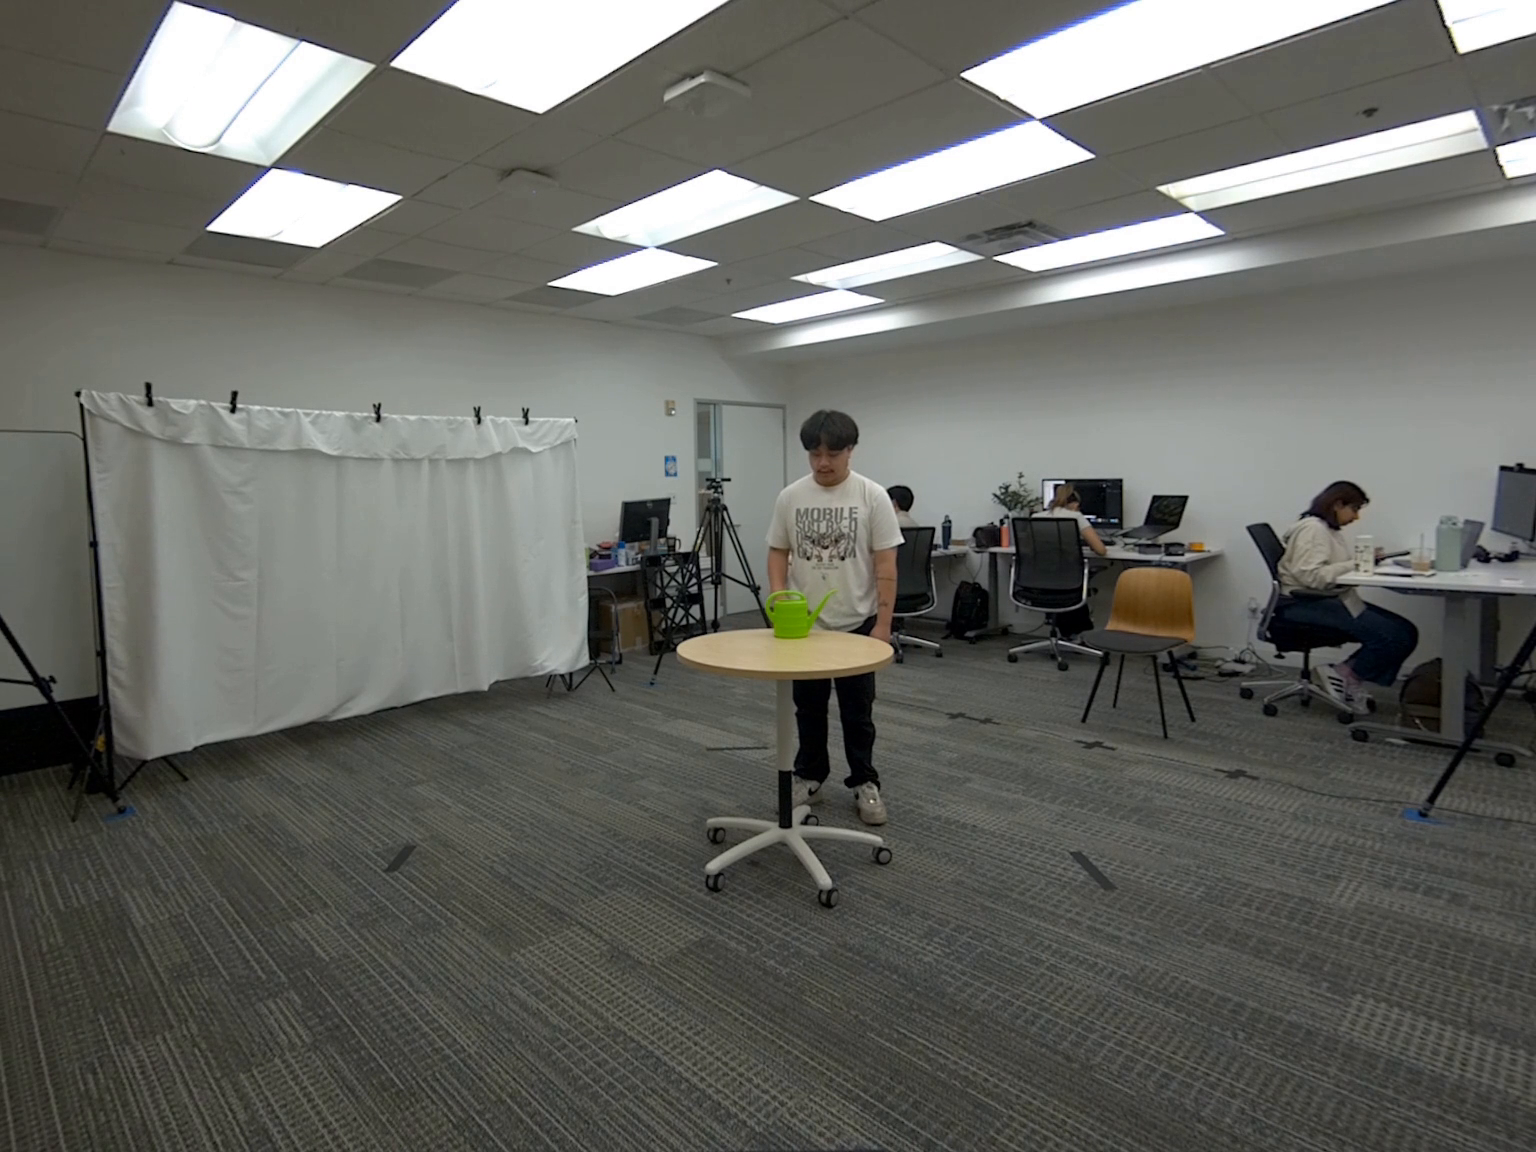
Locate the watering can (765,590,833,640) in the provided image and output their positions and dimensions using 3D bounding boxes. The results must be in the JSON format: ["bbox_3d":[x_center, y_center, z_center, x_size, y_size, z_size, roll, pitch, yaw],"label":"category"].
[{"bbox_3d":[0.137,0.149,3.248,0.281,0.176,0.097,-2,3,9],"label":"watering can"}]
